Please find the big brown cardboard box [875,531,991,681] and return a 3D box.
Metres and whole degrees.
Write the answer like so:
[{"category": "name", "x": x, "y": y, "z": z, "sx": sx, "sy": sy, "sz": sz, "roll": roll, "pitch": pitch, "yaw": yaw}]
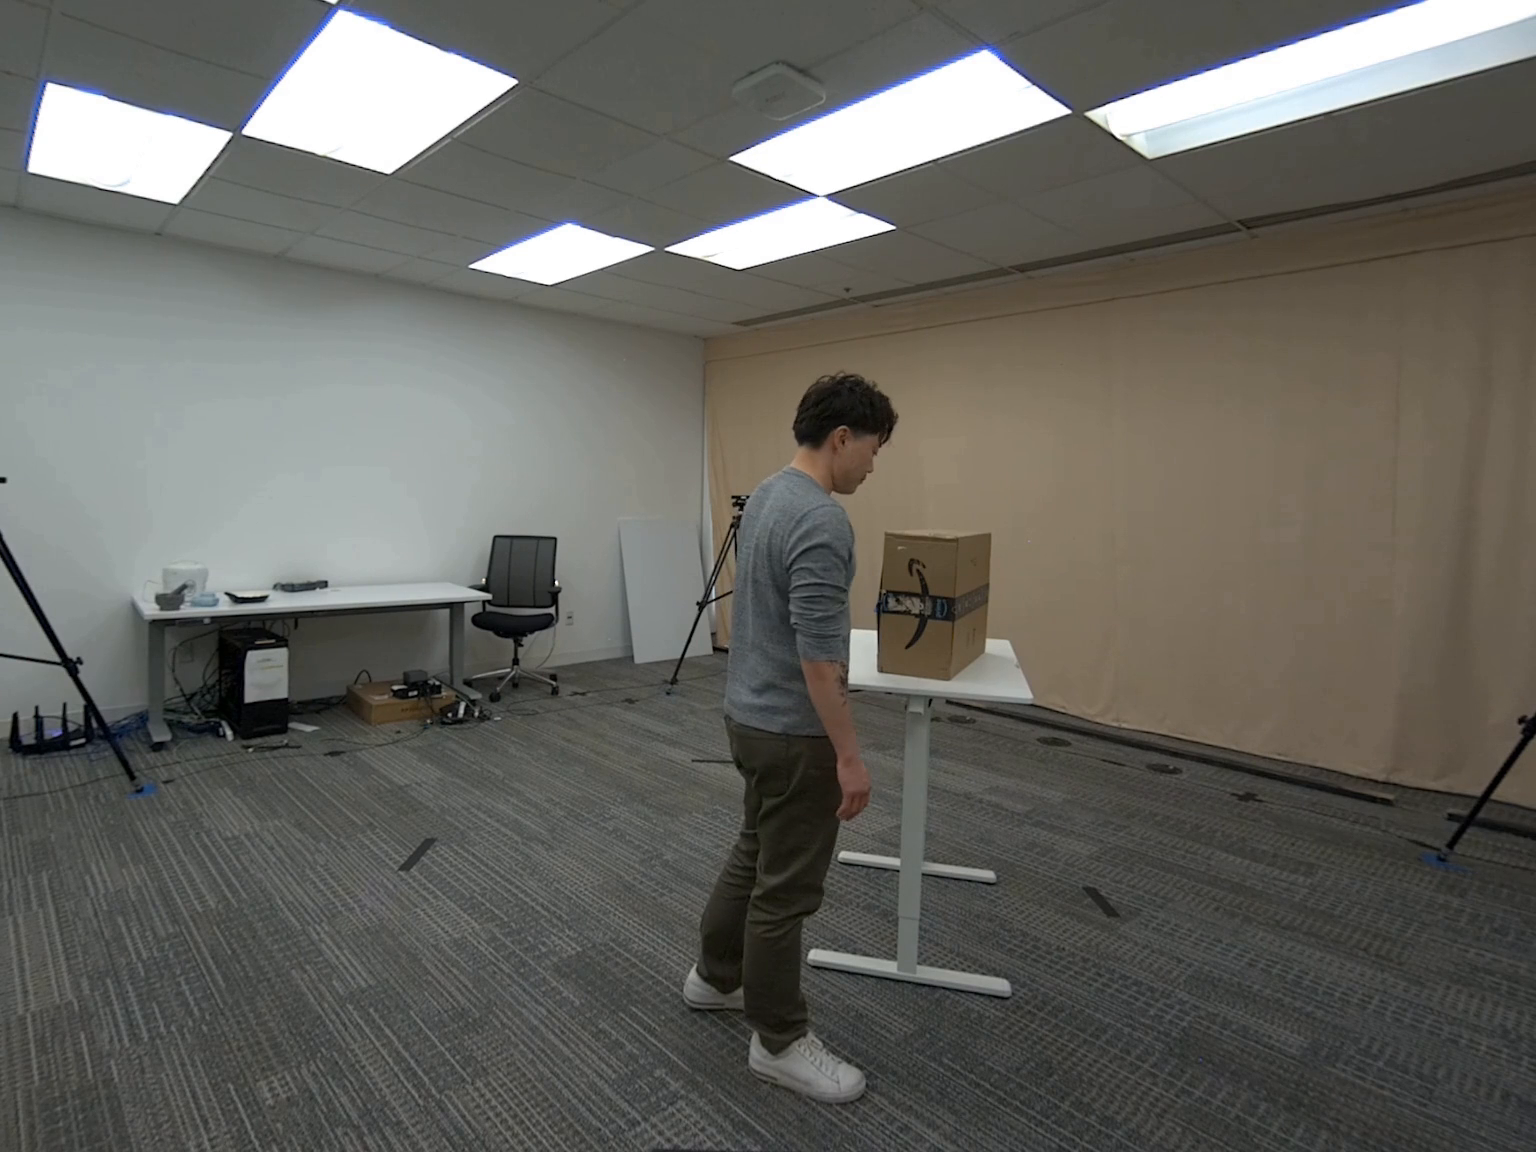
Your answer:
[{"category": "big brown cardboard box", "x": 0.535, "y": 0.071, "z": 2.675, "sx": 0.238, "sy": 0.416, "sz": 0.579, "roll": 5, "pitch": 5, "yaw": 25}]
